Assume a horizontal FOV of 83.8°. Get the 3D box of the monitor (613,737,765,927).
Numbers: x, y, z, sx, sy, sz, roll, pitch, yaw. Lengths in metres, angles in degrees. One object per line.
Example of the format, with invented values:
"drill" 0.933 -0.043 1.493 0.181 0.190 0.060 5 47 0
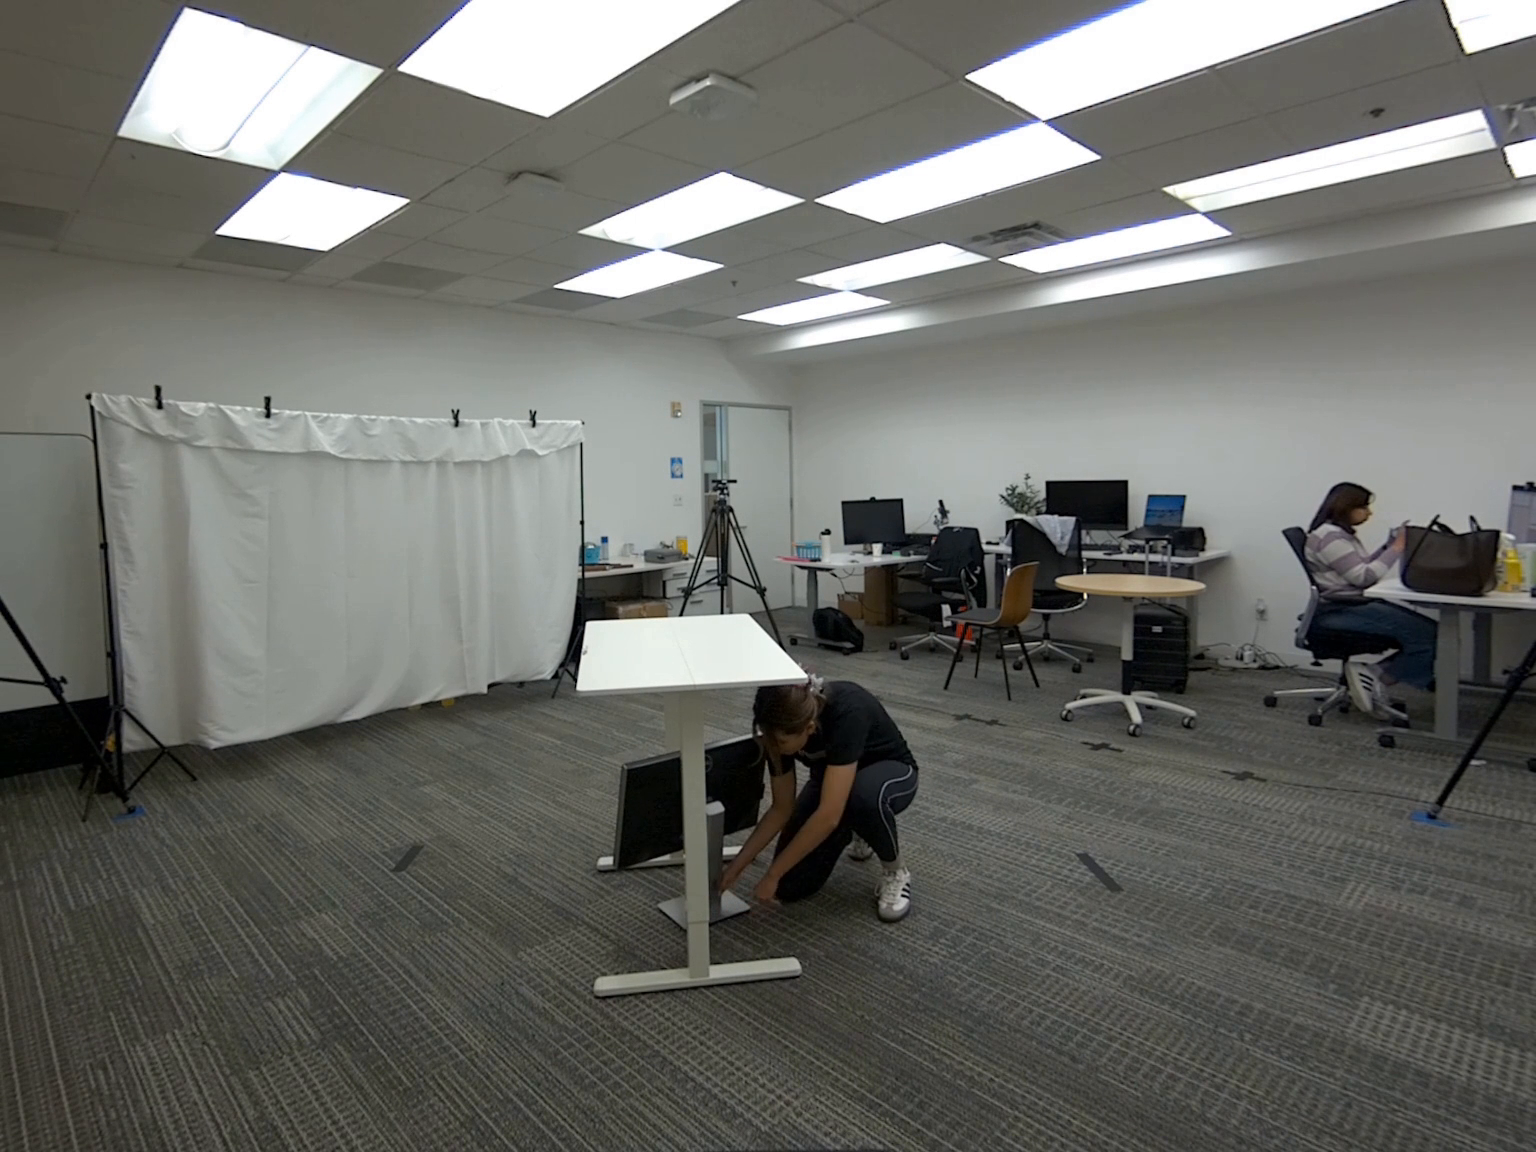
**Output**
"monitor" -0.216 0.819 2.762 0.525 0.521 0.192 -5 5 -37
